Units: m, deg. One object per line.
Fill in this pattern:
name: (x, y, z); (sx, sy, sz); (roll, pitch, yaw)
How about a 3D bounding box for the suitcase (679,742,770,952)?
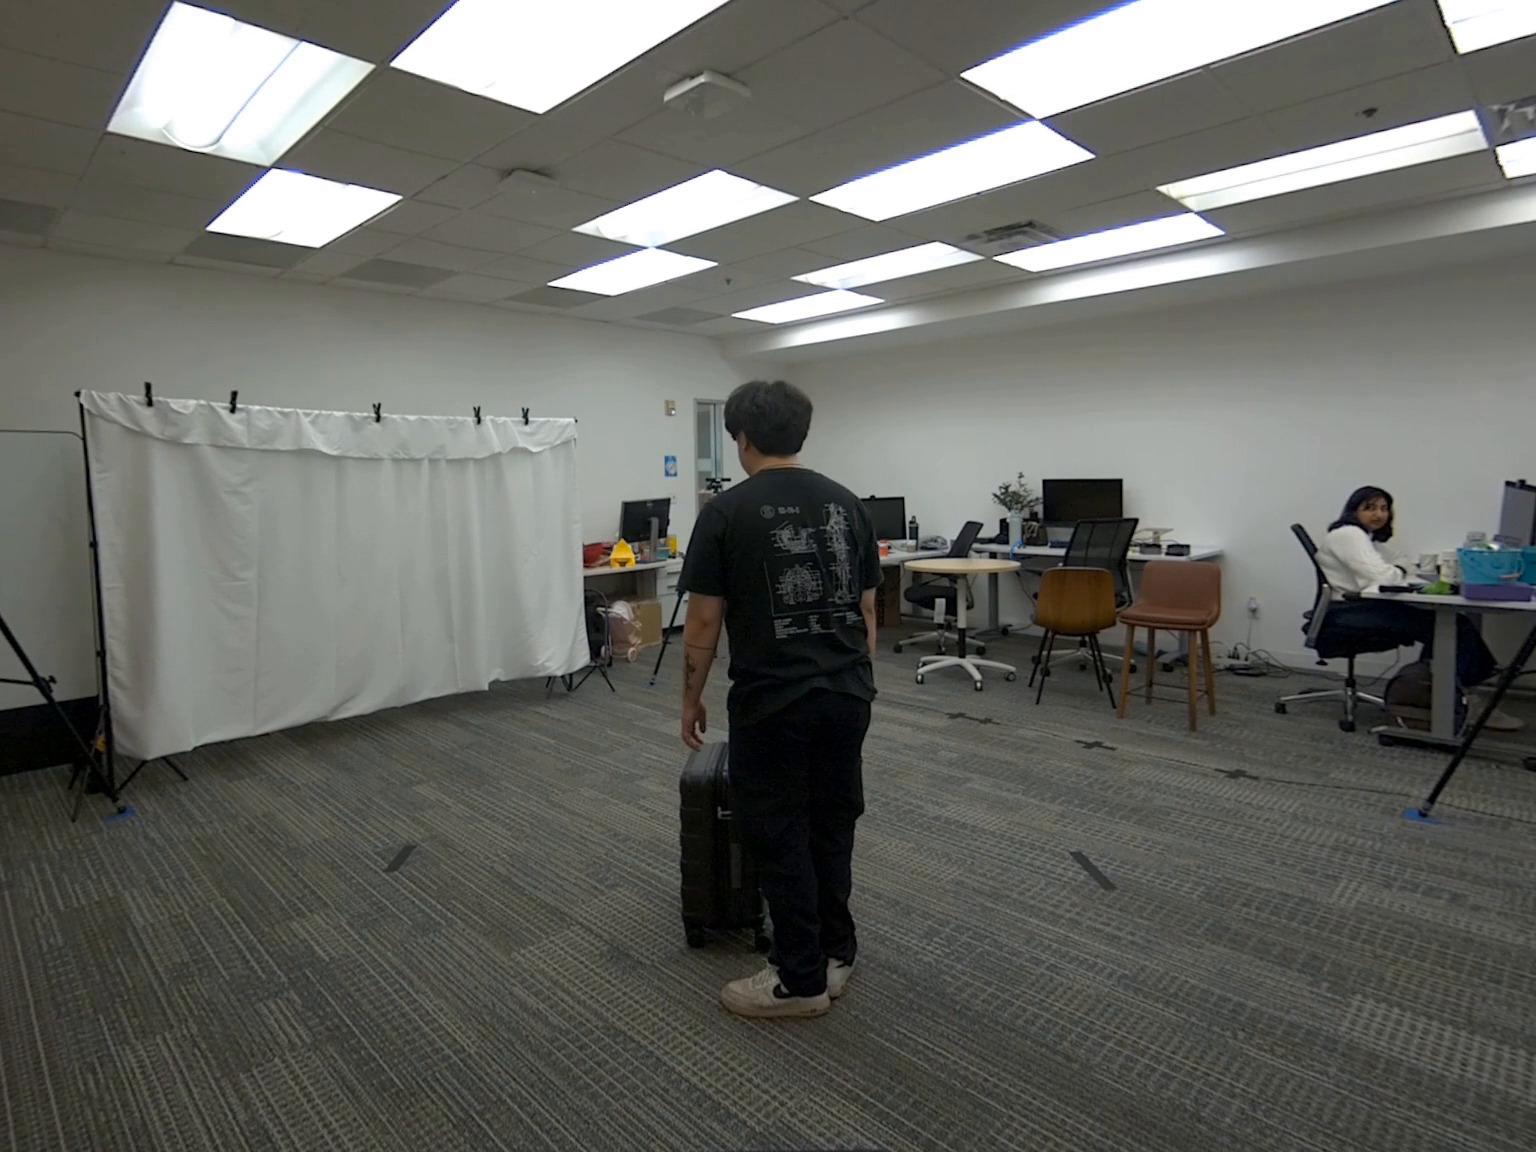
suitcase: (-0.123, 0.817, 2.678); (0.249, 0.547, 0.375); (-3, 4, 4)
